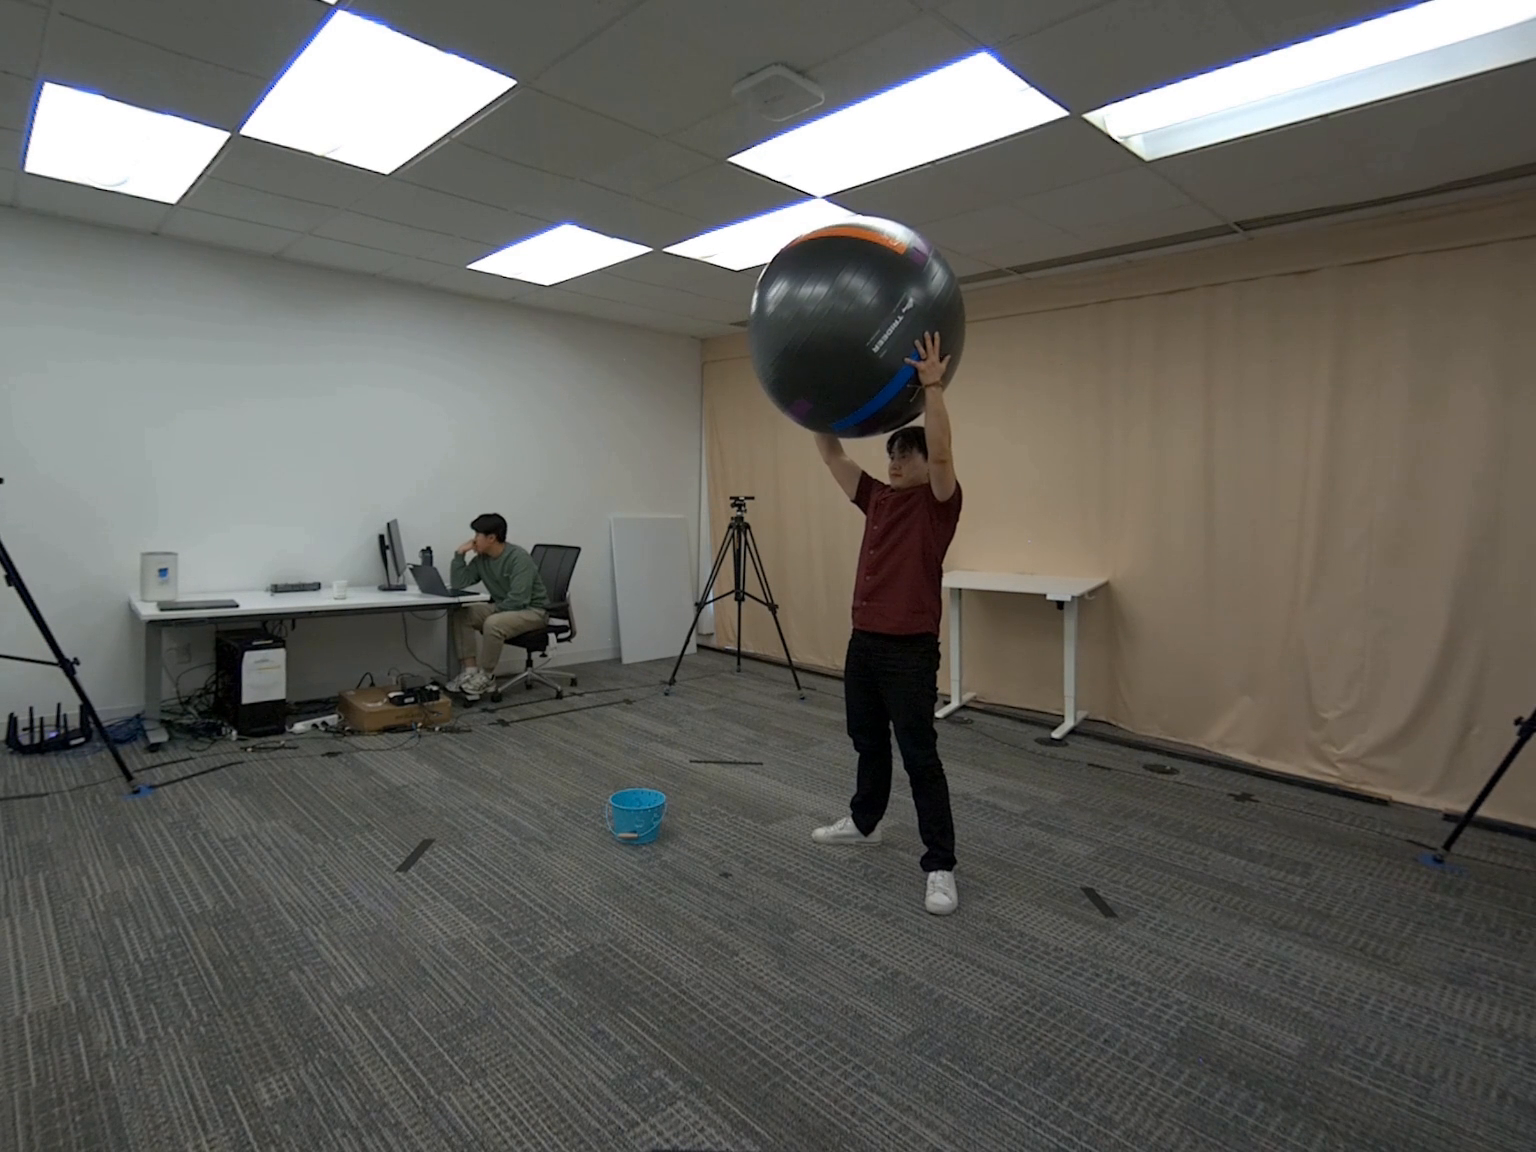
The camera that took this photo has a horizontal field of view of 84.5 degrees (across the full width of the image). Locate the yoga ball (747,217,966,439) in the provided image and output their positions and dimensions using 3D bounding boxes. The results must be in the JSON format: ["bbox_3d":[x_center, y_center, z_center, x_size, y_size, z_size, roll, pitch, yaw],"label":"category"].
[{"bbox_3d":[0.296,-0.861,2.978,0.757,0.756,0.761,1,4,-1],"label":"yoga ball"}]
